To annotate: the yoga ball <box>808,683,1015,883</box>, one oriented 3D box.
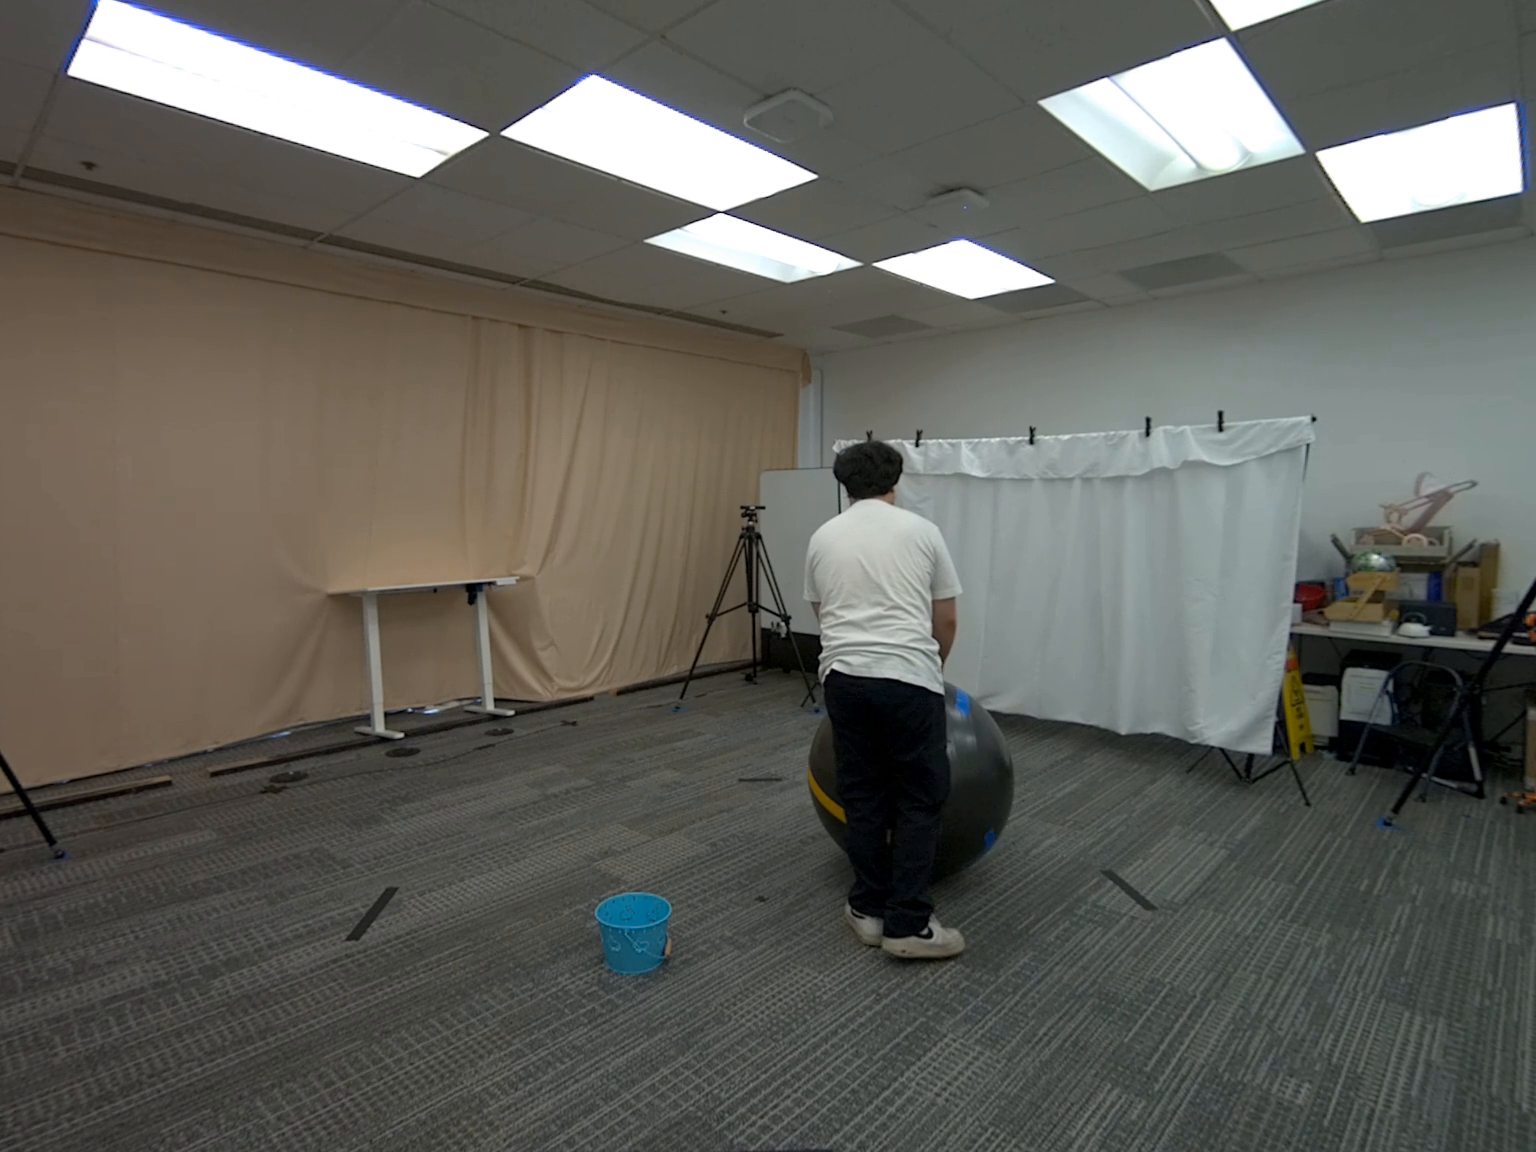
[{"bbox_3d":[0.546,0.758,3.210,0.757,0.756,0.760,0,4,-2],"label":"yoga ball"}]
